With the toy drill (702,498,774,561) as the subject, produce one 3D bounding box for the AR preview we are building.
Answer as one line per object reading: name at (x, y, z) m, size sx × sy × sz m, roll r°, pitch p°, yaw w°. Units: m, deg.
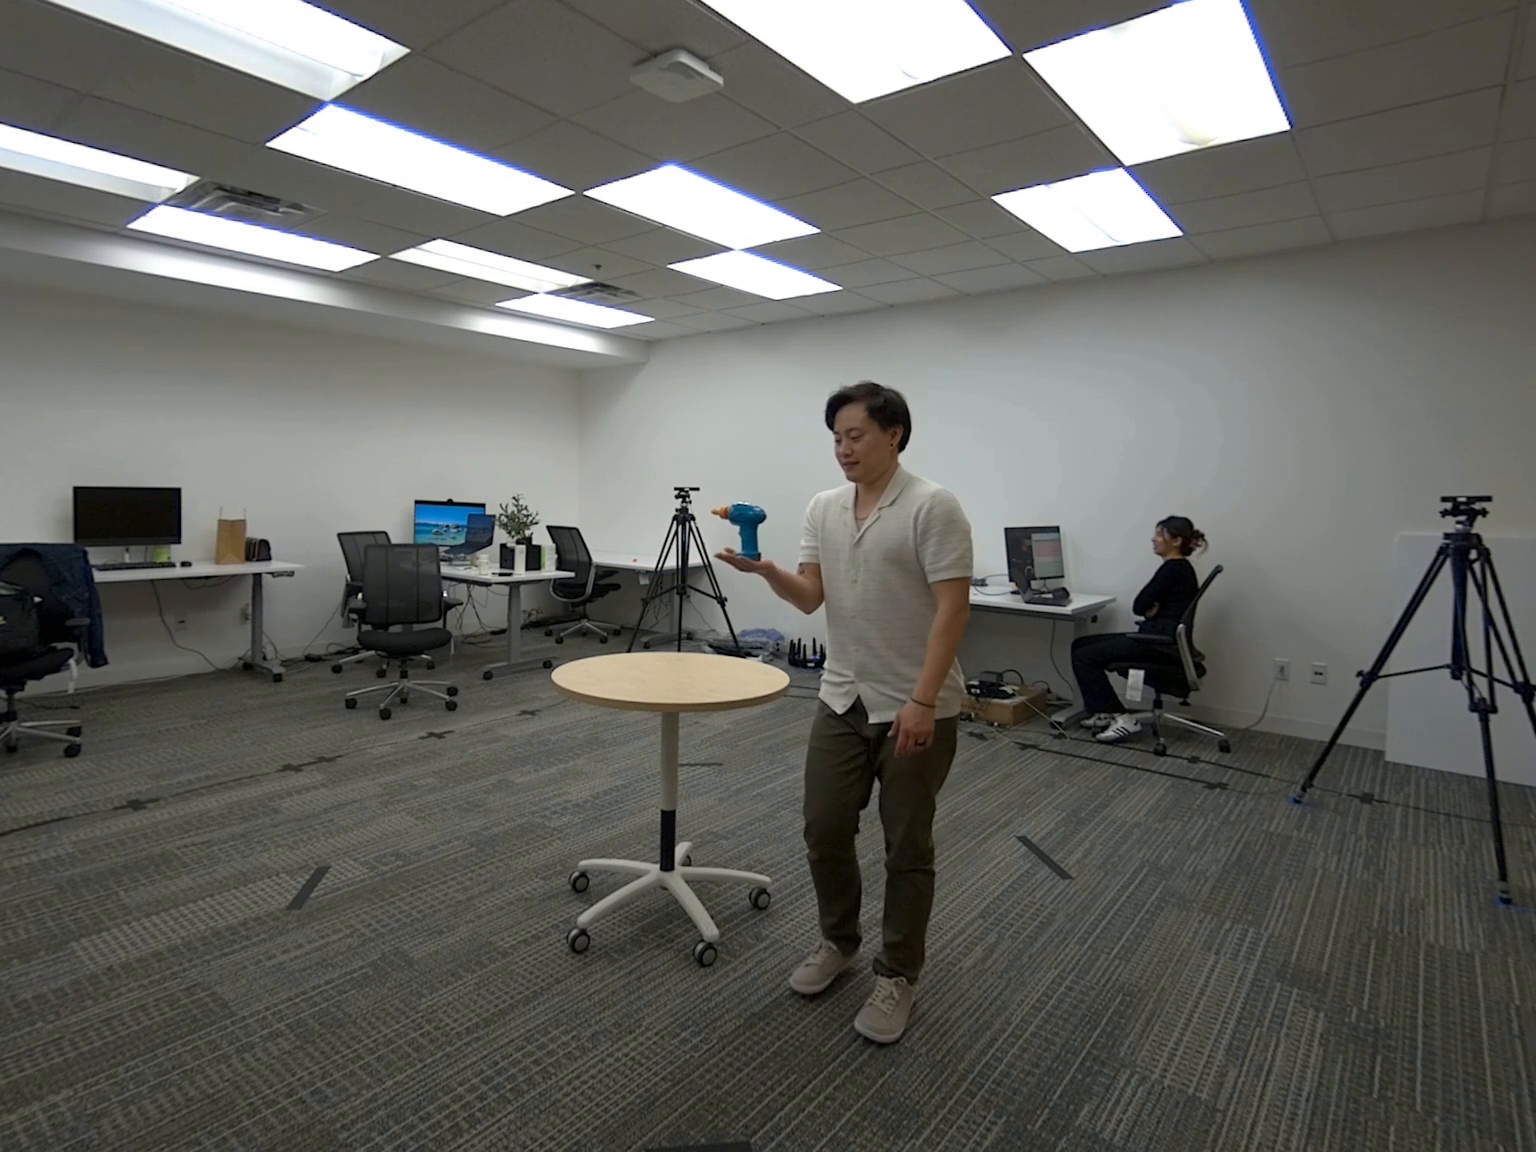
toy drill at (-0.080, -0.120, 2.175) m, size 0.175 × 0.145 × 0.059 m, roll 9°, pitch 9°, yaw 33°
